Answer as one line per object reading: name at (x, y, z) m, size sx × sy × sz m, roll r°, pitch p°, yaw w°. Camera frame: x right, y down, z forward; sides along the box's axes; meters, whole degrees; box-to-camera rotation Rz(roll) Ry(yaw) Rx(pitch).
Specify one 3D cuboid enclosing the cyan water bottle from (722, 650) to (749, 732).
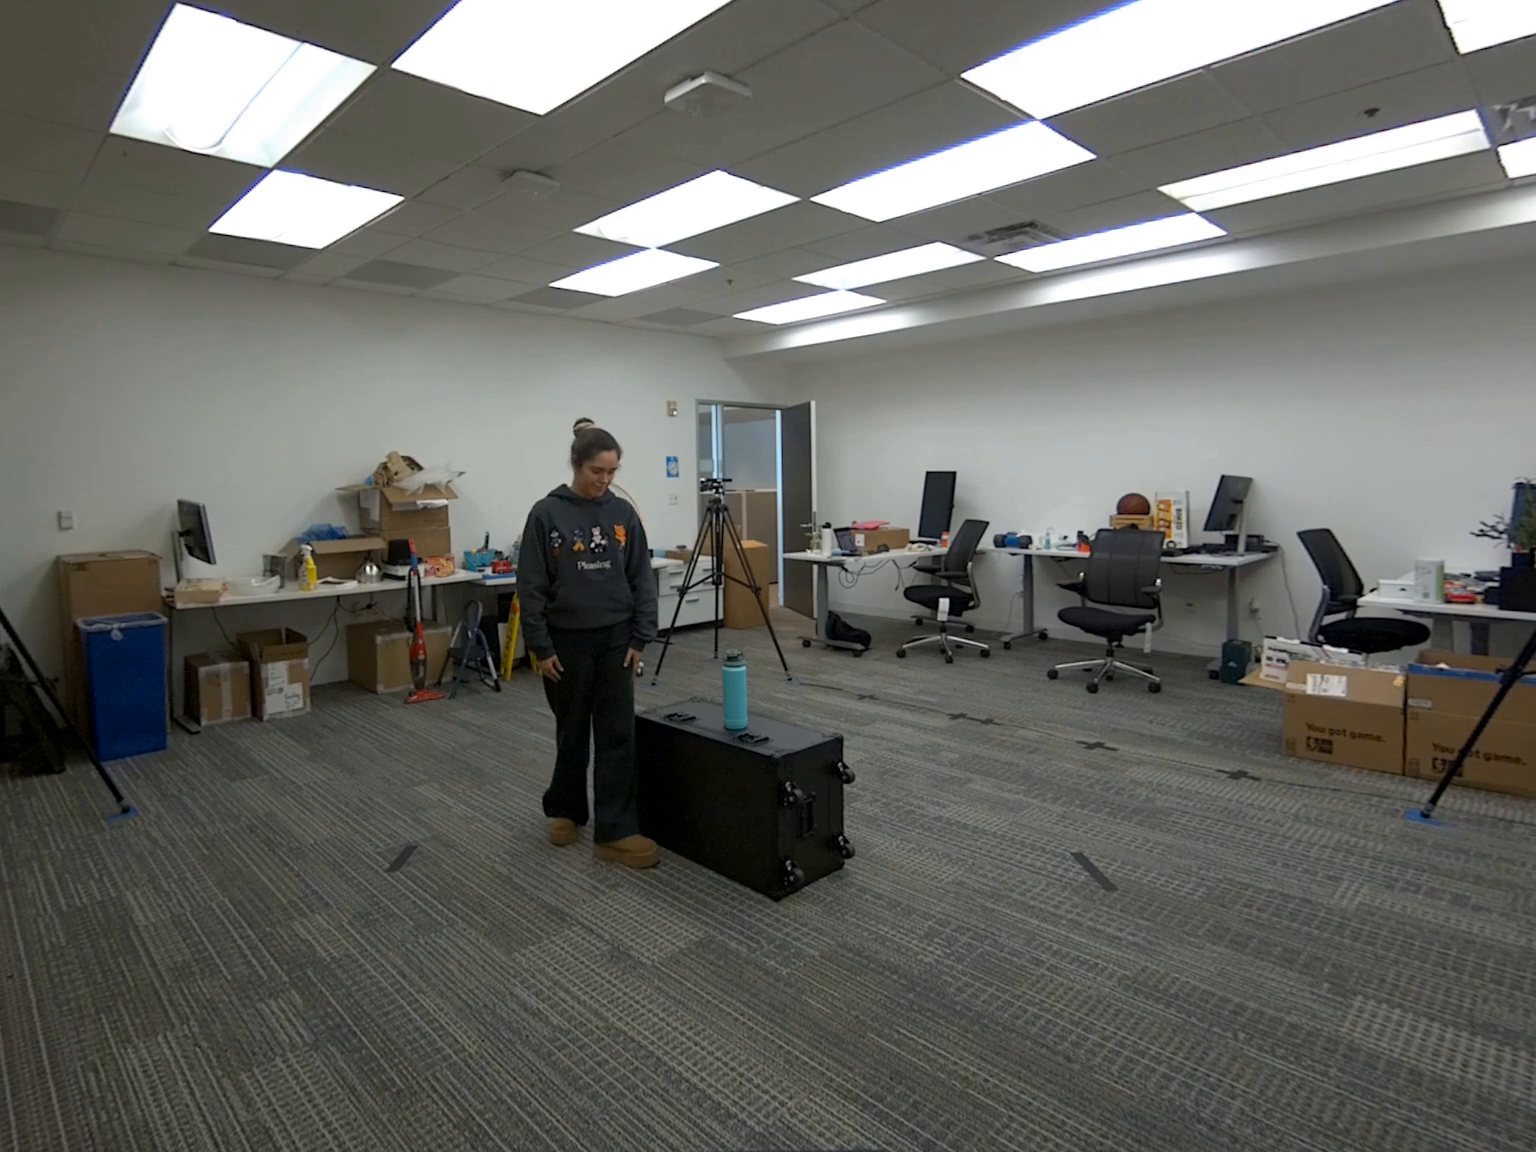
cyan water bottle at (-0.122, 0.416, 3.151) m, size 0.092 × 0.283 × 0.092 m, roll -2°, pitch 1°, yaw -2°
